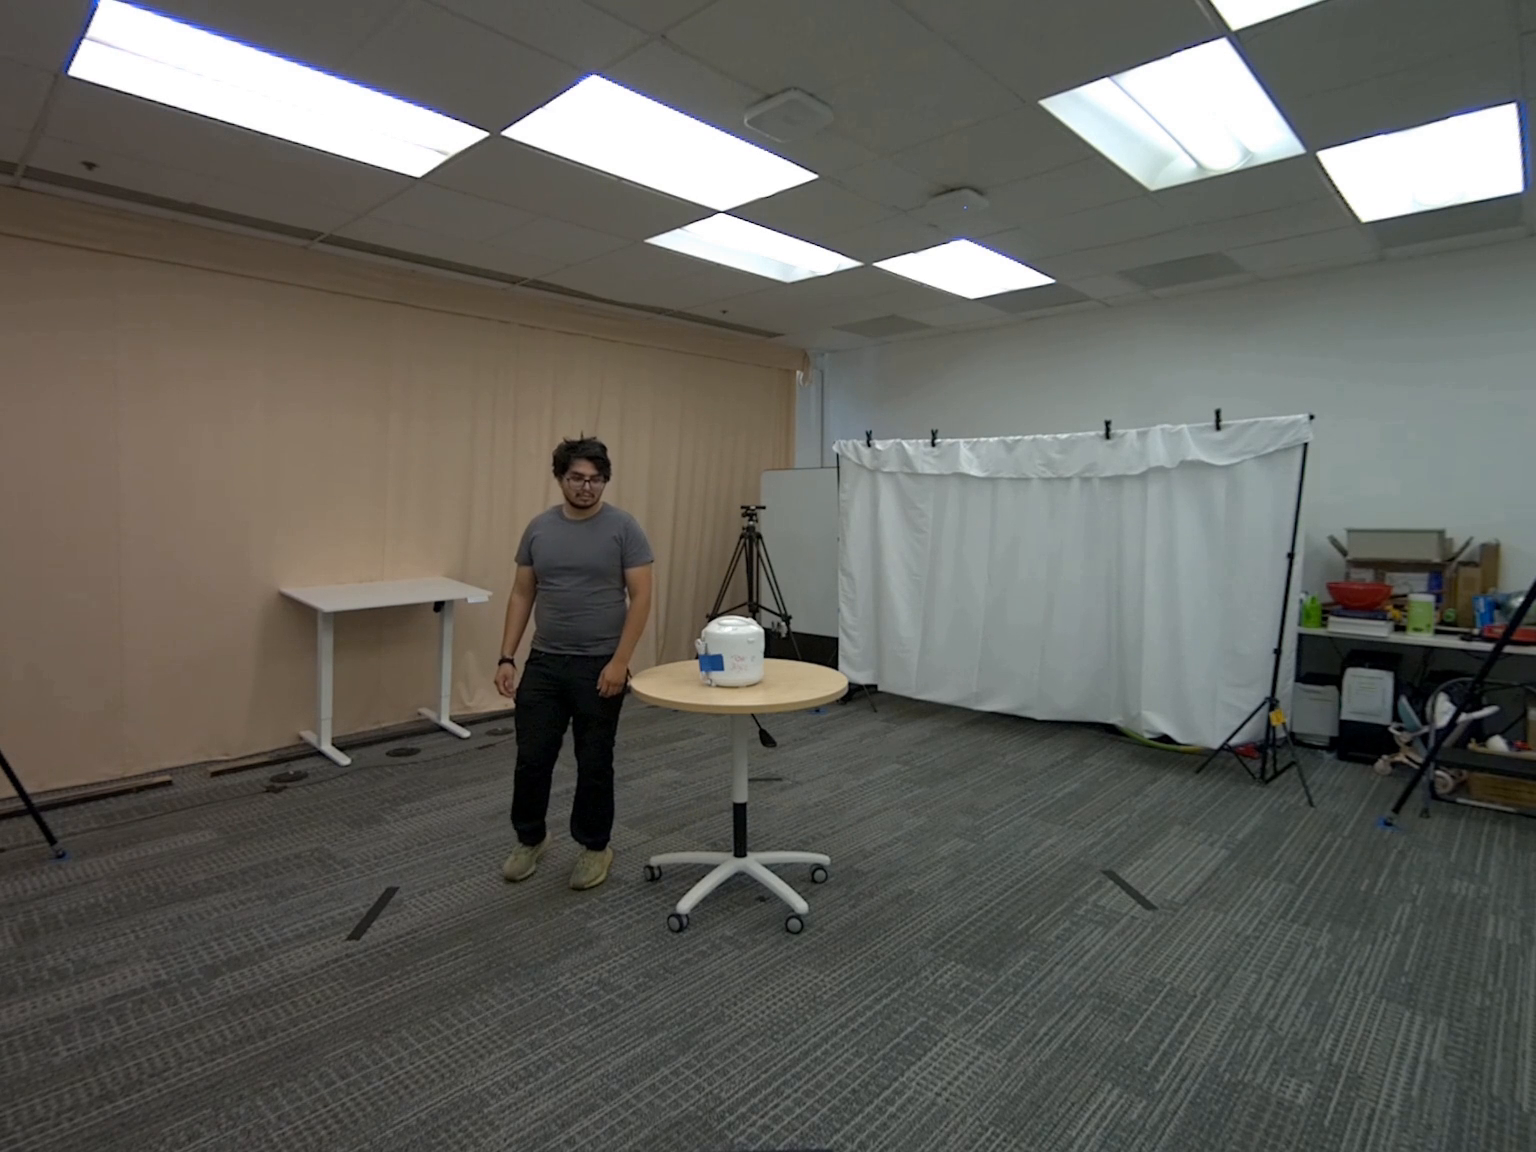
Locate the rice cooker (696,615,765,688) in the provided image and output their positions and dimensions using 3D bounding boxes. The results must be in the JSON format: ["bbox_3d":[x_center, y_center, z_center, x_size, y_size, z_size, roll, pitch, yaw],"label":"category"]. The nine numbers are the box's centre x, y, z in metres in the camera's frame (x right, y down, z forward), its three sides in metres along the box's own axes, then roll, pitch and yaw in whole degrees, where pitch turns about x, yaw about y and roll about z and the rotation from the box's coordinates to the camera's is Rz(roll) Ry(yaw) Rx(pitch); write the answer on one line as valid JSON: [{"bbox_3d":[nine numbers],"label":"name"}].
[{"bbox_3d":[-0.118,0.253,2.915,0.224,0.232,0.214,1,4,16],"label":"rice cooker"}]
